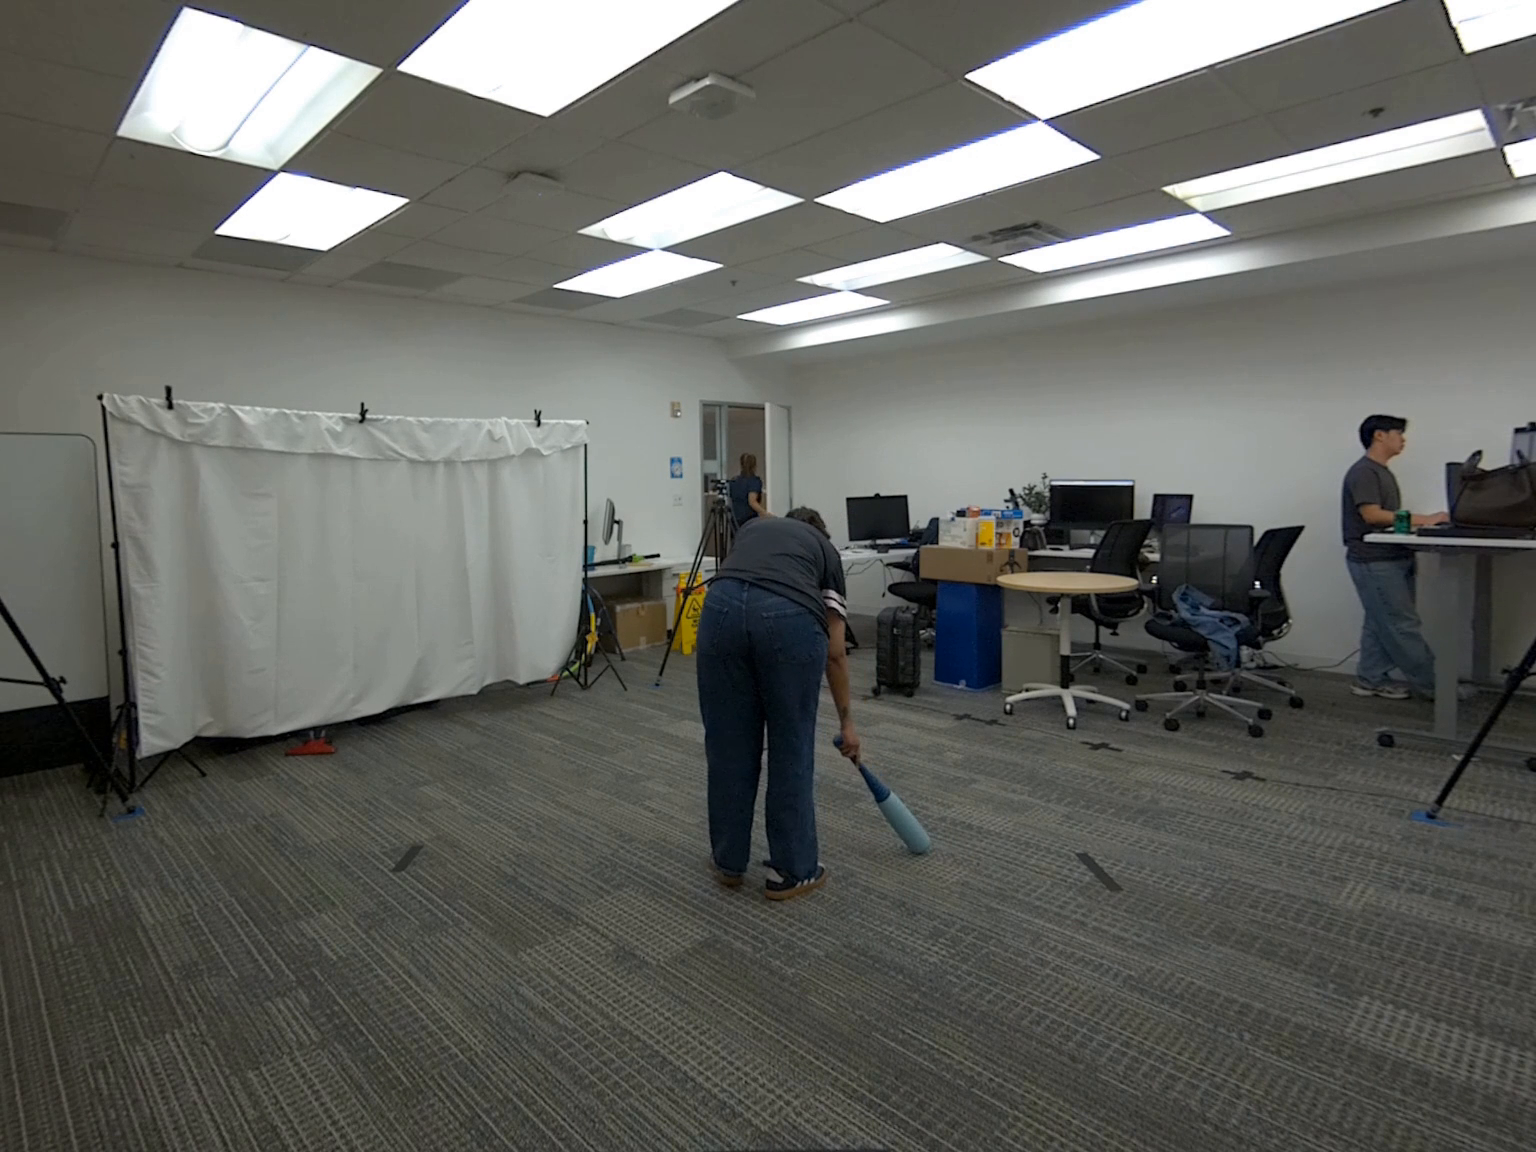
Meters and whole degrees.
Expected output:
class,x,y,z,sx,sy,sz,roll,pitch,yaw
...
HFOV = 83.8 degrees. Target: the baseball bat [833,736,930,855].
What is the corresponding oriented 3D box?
class,x,y,z,sx,sy,sz,roll,pitch,yaw
baseball bat,0.413,0.802,3.157,0.089,0.538,0.090,-38,6,4
